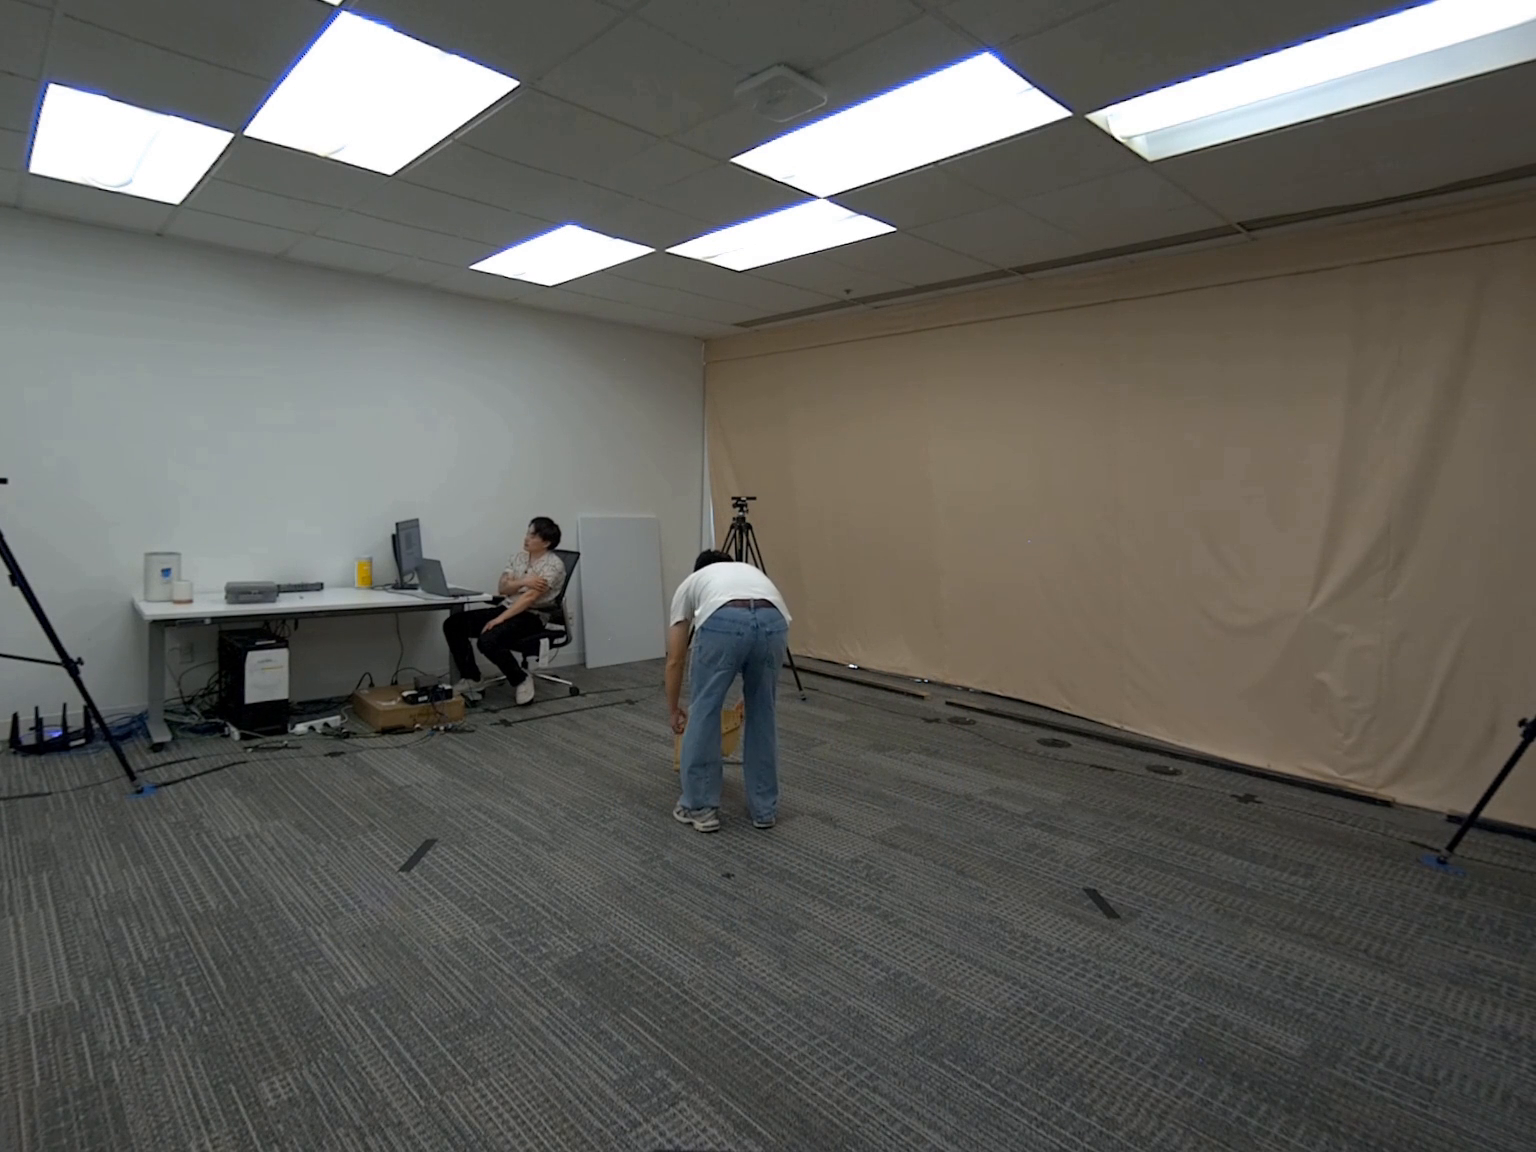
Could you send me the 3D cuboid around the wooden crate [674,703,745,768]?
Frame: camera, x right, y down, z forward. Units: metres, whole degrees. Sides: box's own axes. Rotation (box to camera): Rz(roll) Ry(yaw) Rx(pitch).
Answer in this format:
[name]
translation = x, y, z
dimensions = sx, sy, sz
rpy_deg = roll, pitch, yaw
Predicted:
[wooden crate]
translation = -0.294, 0.822, 4.037
dimensions = 0.271, 0.305, 0.324
rpy_deg = 6, -16, -12
